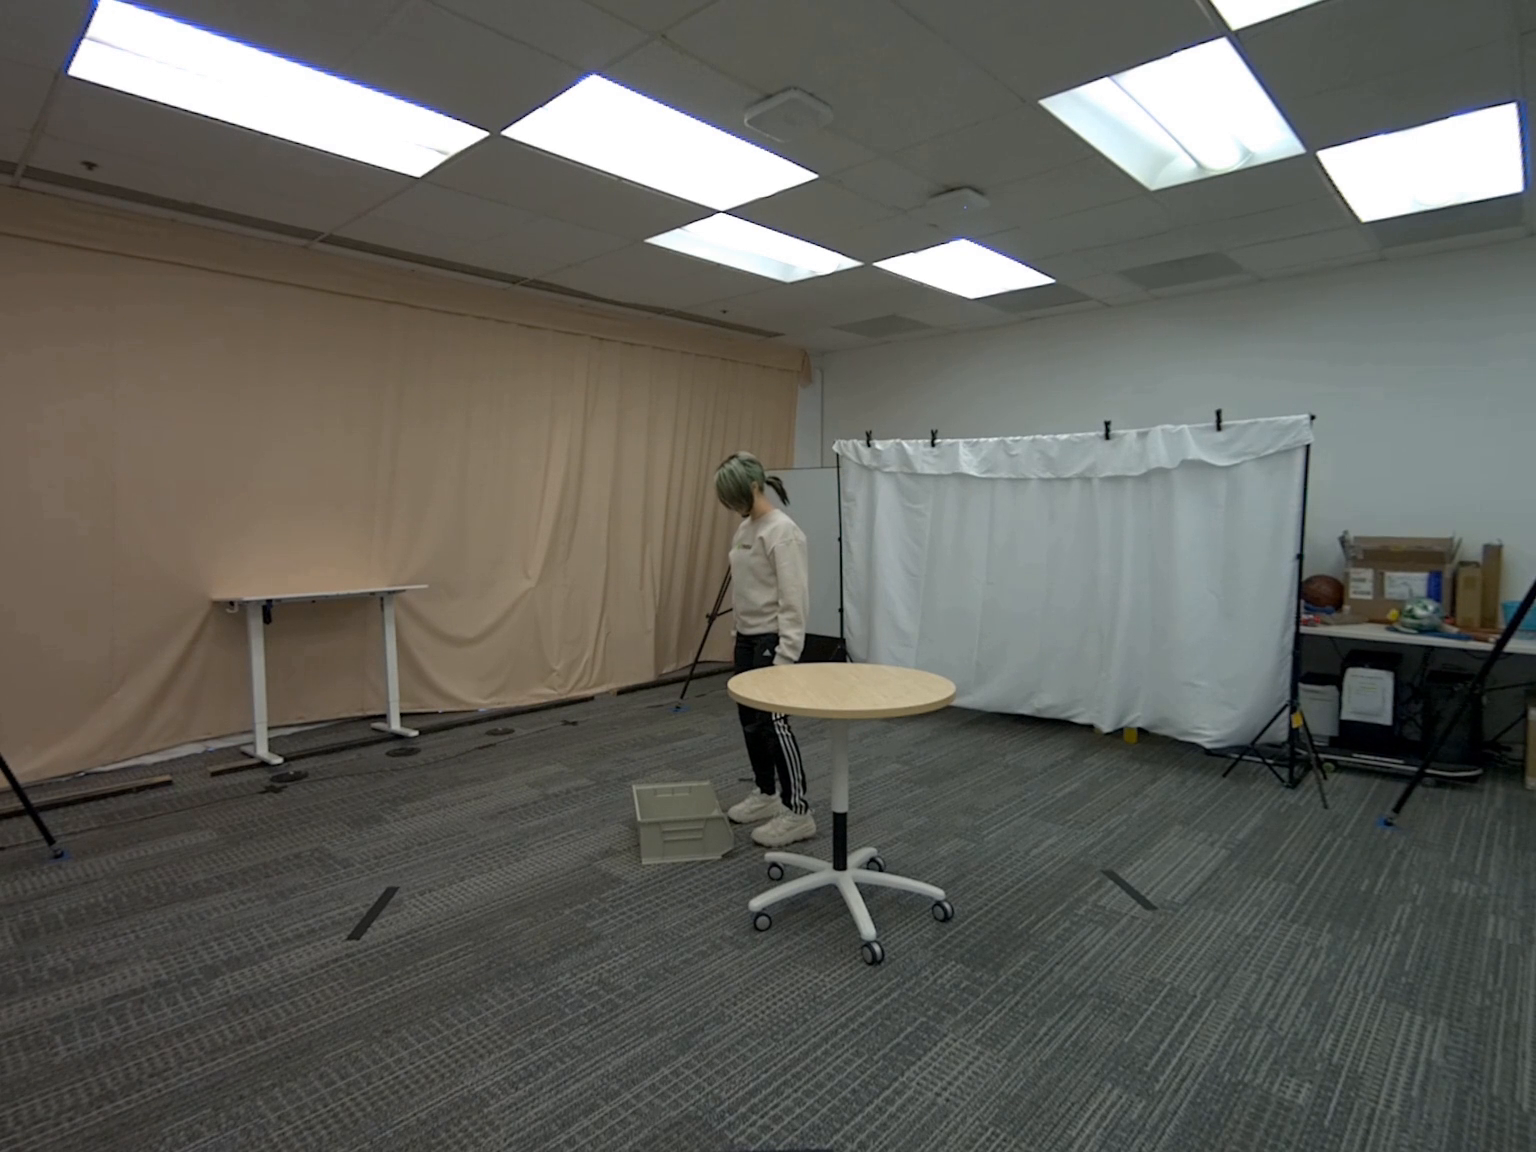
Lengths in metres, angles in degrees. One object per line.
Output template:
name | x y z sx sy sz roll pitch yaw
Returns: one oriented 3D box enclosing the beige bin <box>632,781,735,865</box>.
beige bin | -0.362 1.015 3.501 0.373 0.188 0.428 -2 5 -11
